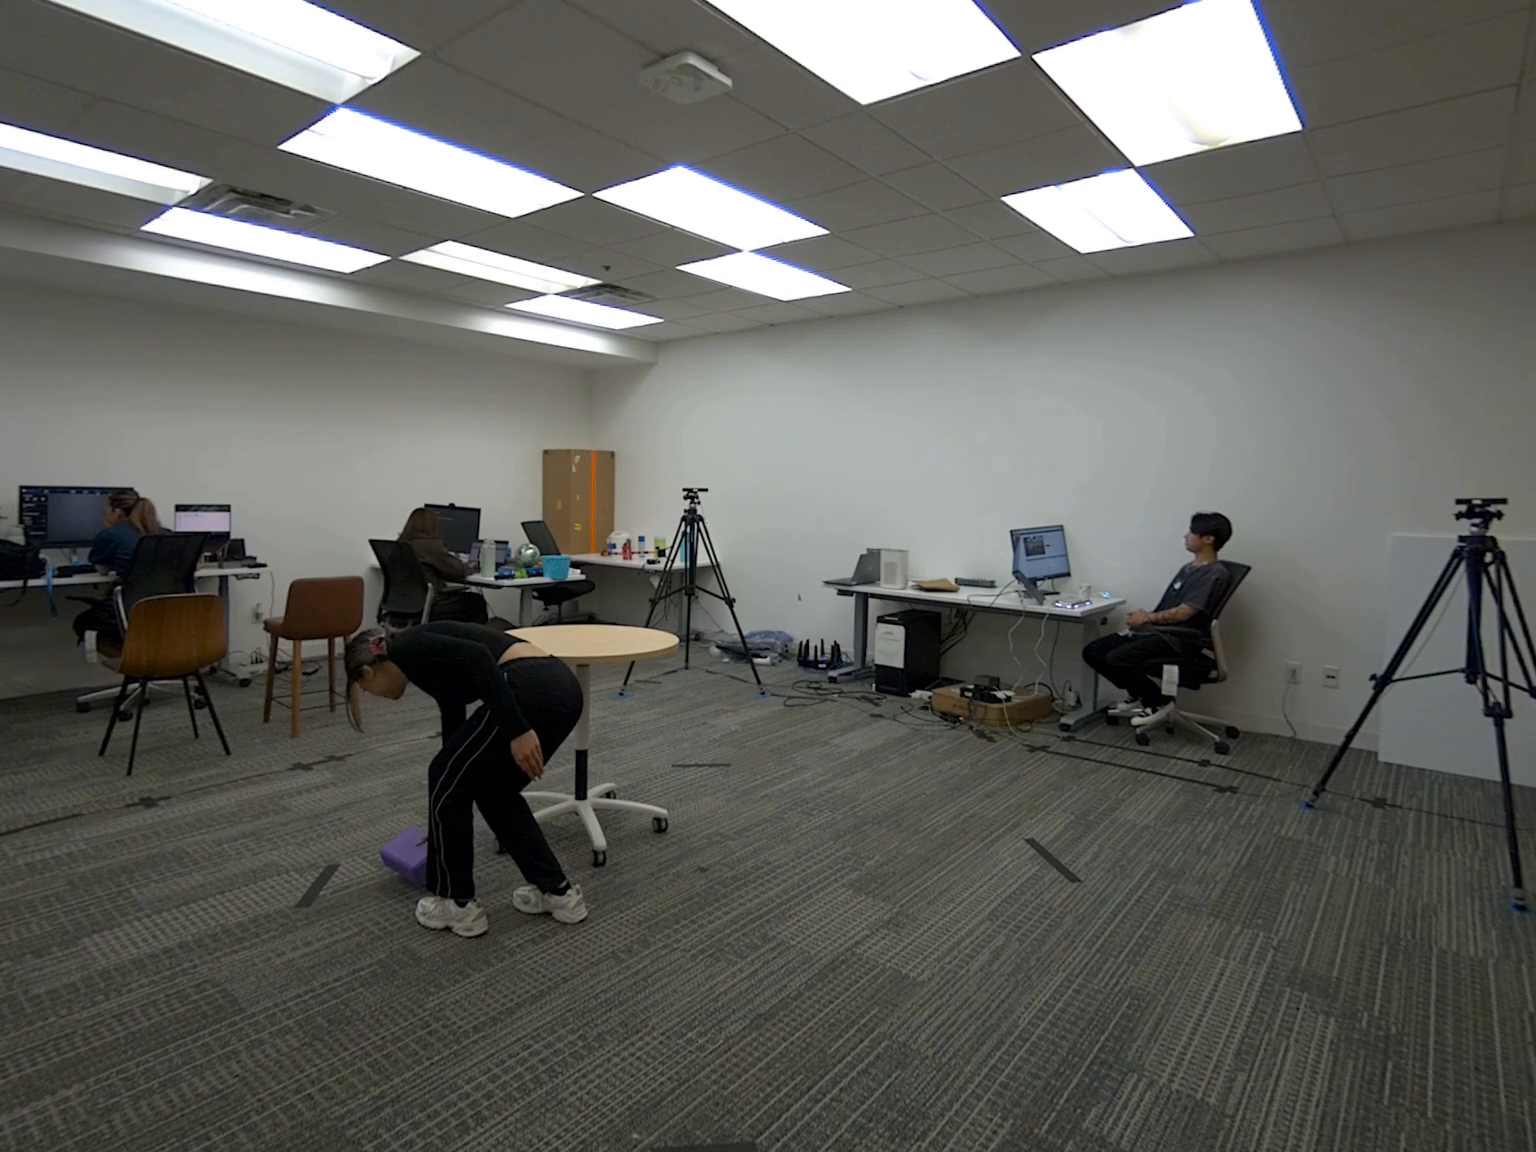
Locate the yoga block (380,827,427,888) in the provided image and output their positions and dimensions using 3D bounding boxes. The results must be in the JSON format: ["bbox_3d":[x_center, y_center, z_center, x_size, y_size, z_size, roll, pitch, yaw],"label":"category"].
[{"bbox_3d":[-1.258,0.975,2.965,0.236,0.075,0.147,0,21,34],"label":"yoga block"}]
